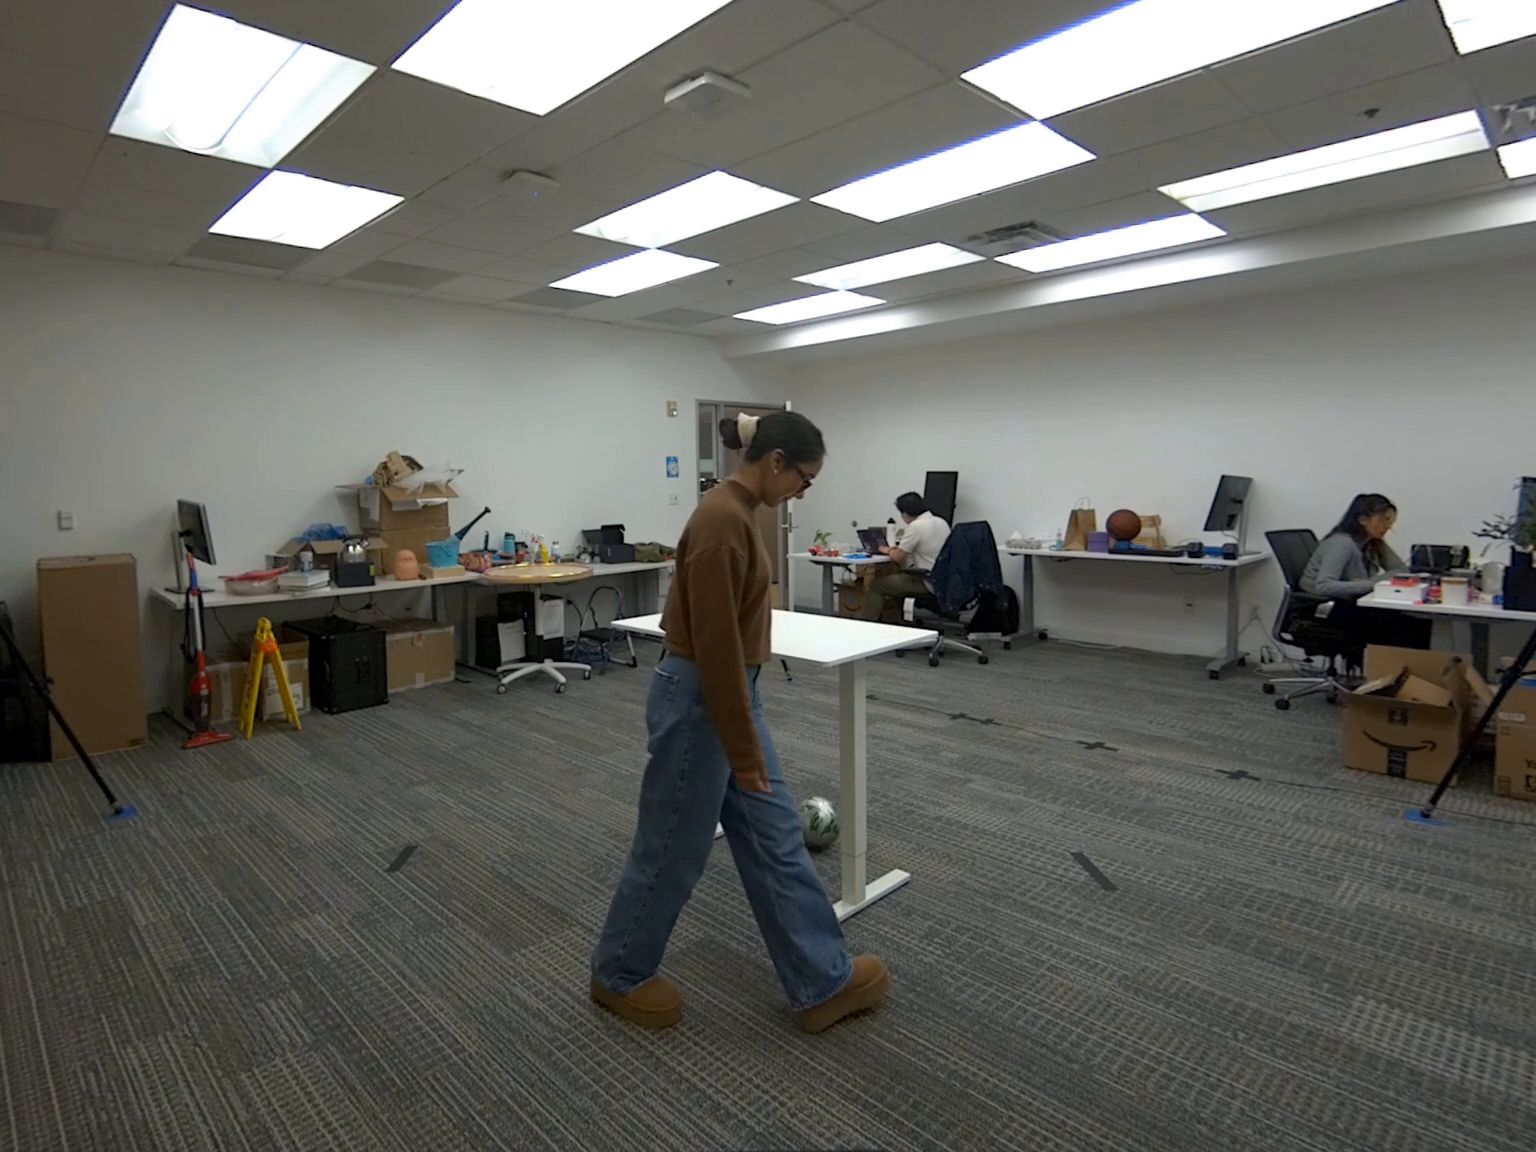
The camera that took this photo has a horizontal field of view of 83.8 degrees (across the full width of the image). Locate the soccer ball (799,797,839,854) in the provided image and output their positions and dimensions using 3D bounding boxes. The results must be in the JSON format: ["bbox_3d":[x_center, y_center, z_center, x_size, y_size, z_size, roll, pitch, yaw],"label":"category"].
[{"bbox_3d":[0.192,0.927,3.229,0.187,0.187,0.188,-1,5,-2],"label":"soccer ball"}]
